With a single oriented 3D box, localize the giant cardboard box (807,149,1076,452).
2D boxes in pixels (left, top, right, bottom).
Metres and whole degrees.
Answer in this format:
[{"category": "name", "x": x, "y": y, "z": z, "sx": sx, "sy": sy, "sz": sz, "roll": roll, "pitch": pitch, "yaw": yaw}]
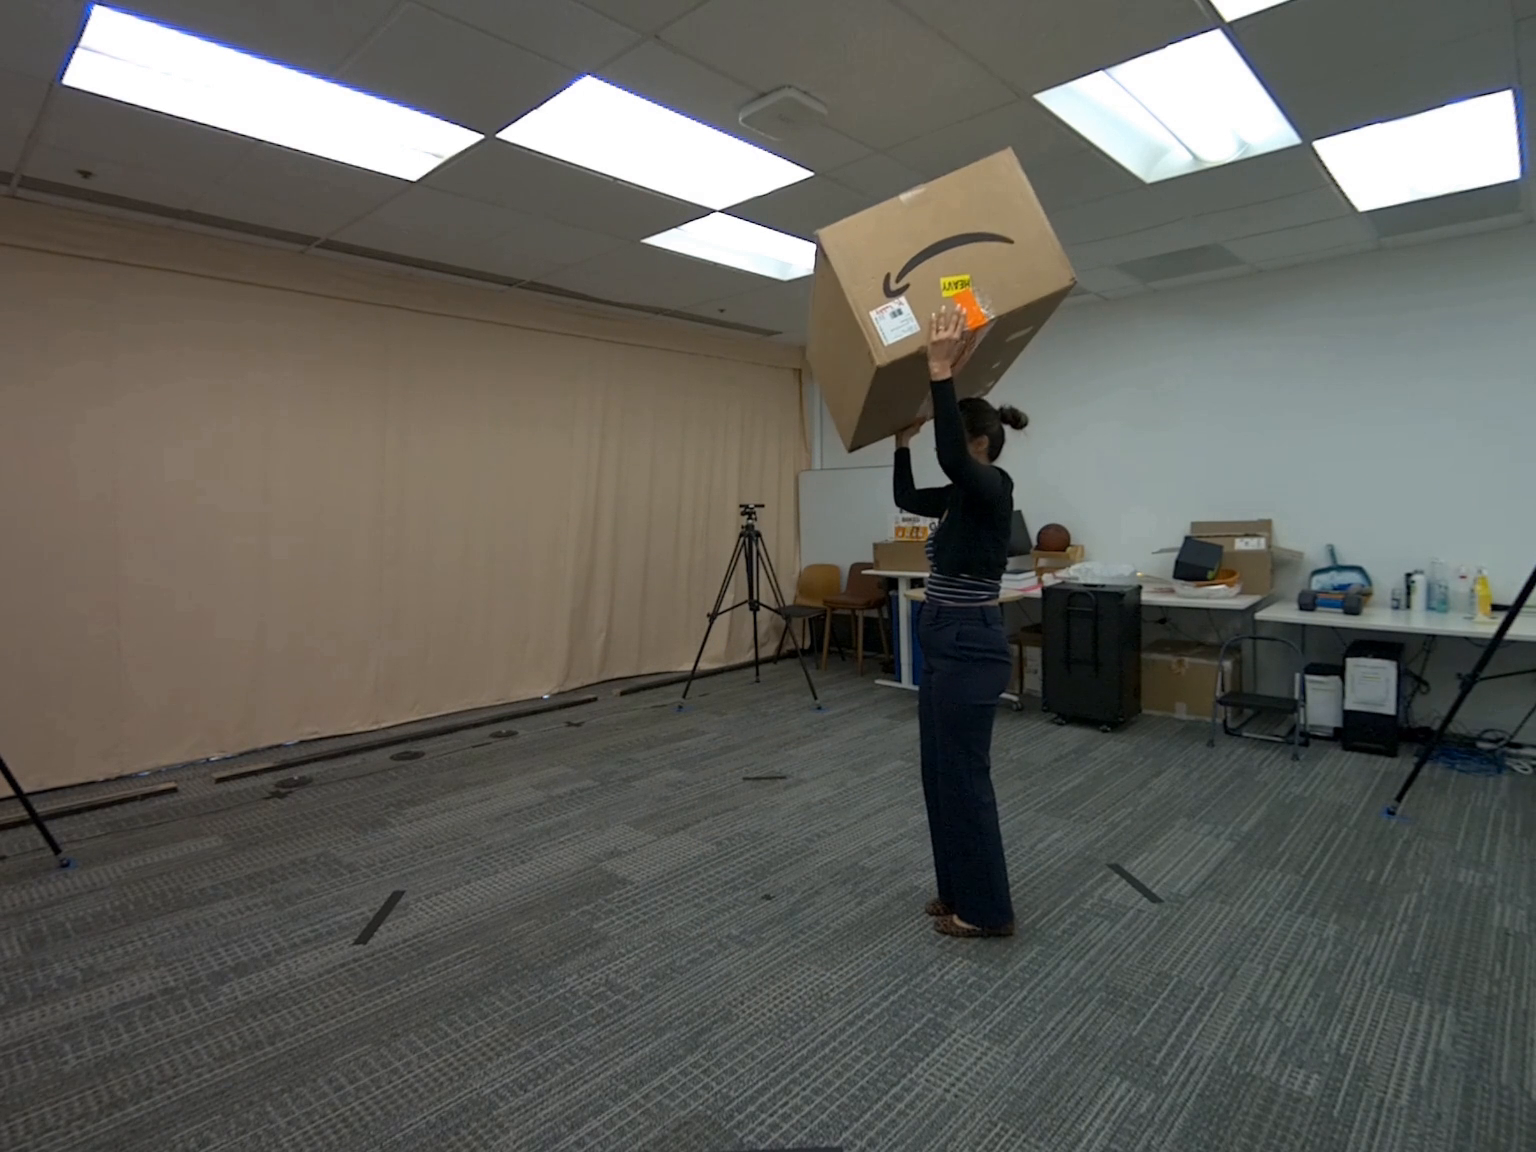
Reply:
[{"category": "giant cardboard box", "x": 0.490, "y": -0.807, "z": 2.747, "sx": 0.578, "sy": 0.429, "sz": 1.018, "roll": -22, "pitch": -6, "yaw": 0}]
